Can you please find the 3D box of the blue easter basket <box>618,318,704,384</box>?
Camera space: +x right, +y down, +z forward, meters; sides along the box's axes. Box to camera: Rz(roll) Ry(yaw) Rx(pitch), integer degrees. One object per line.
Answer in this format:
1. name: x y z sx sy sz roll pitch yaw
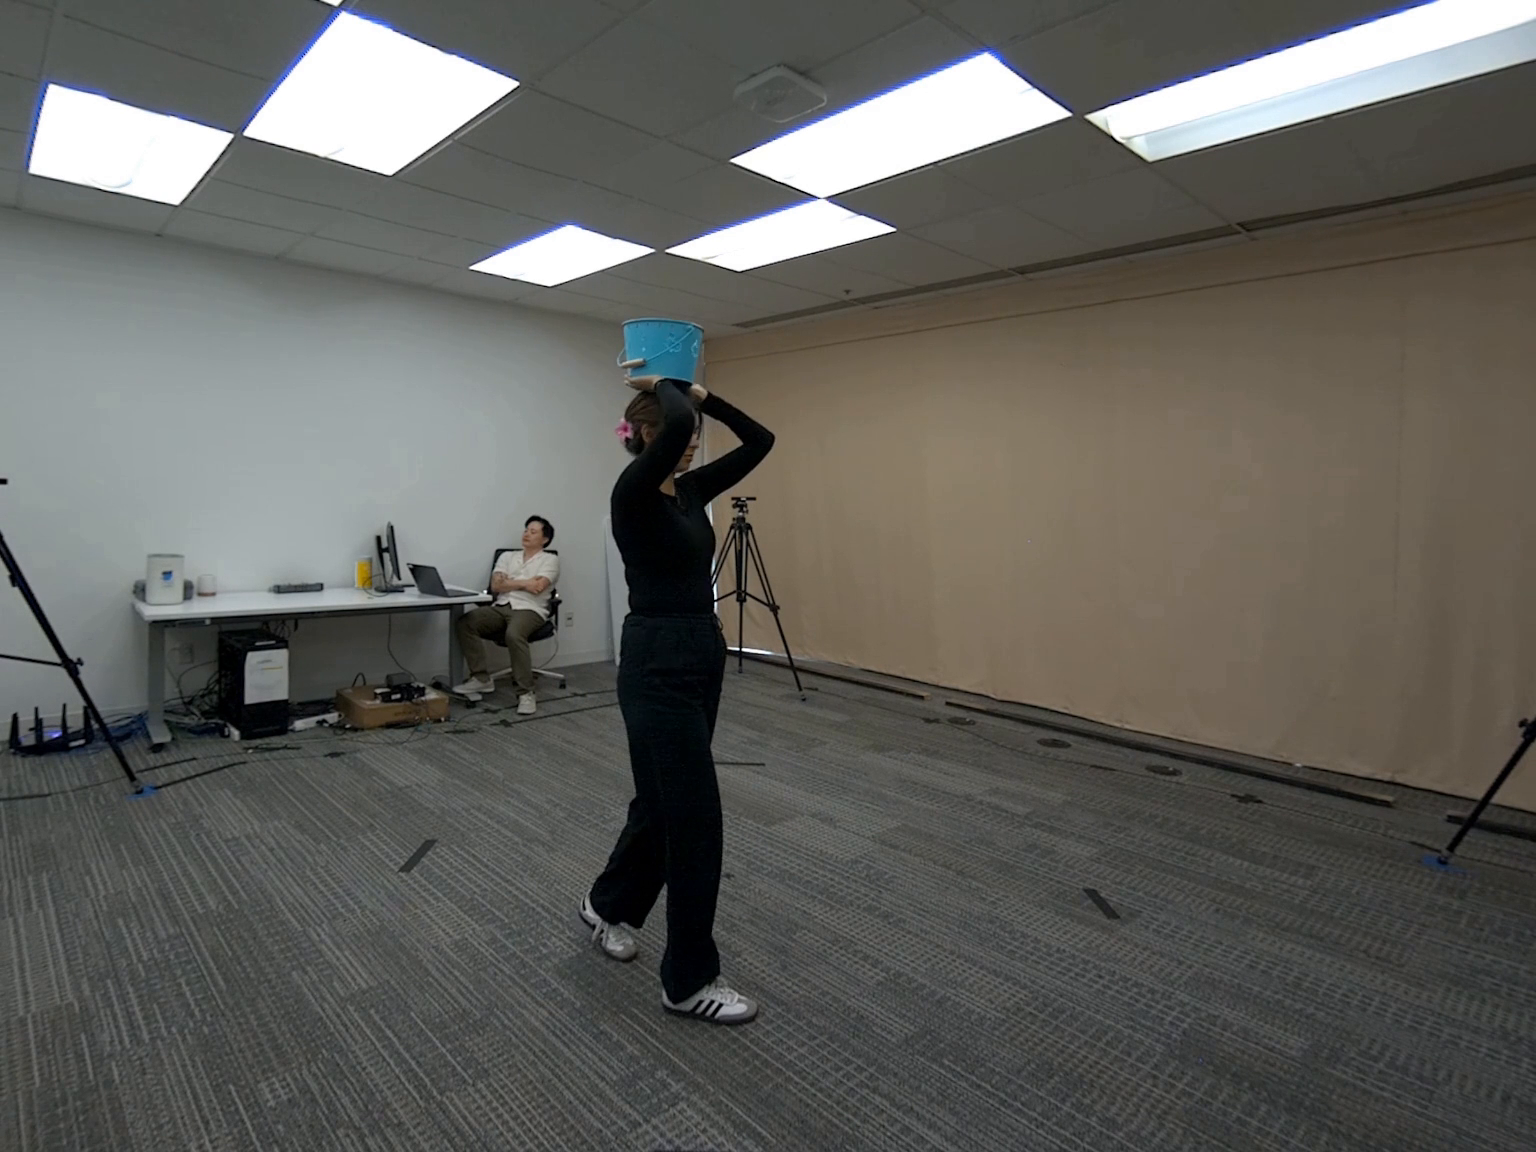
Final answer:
1. blue easter basket: -0.311 -0.615 2.347 0.243 0.155 0.244 3 4 -2
